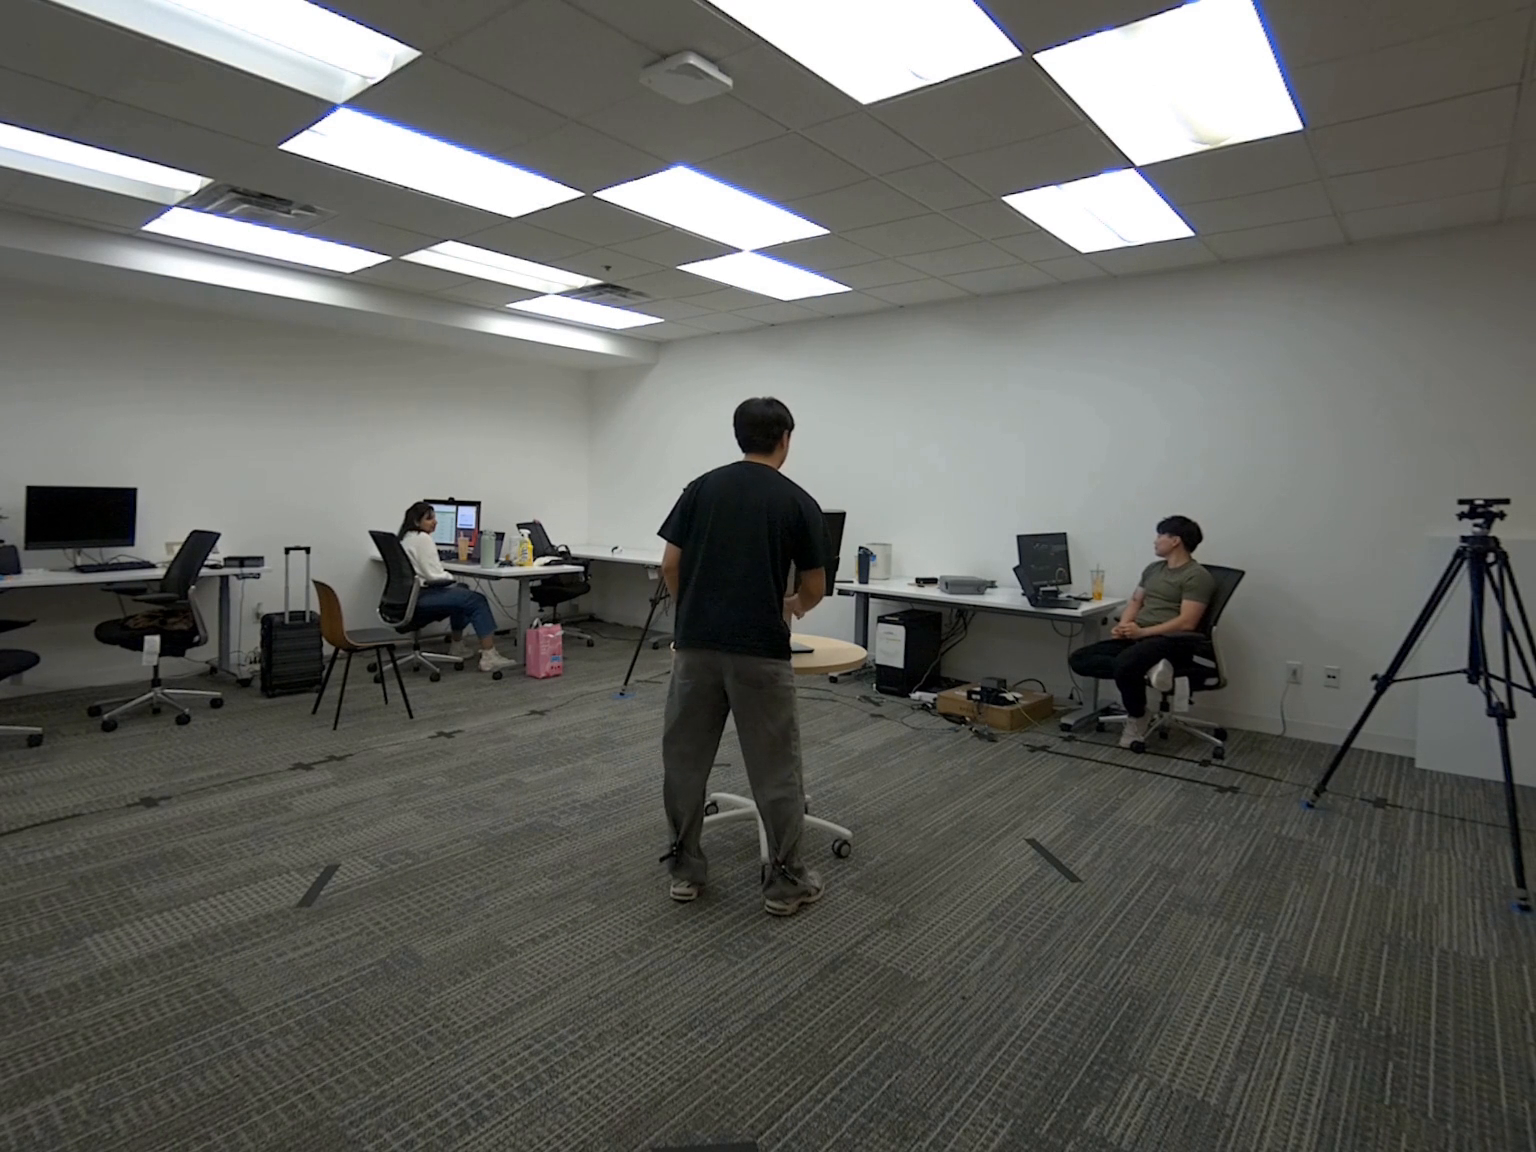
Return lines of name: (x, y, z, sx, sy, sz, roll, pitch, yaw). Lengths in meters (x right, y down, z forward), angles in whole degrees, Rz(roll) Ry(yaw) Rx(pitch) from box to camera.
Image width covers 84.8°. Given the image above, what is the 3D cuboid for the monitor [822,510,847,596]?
monitor: (0.025, 0.018, 3.292, 0.552, 0.565, 0.226, 1, 2, -17)
